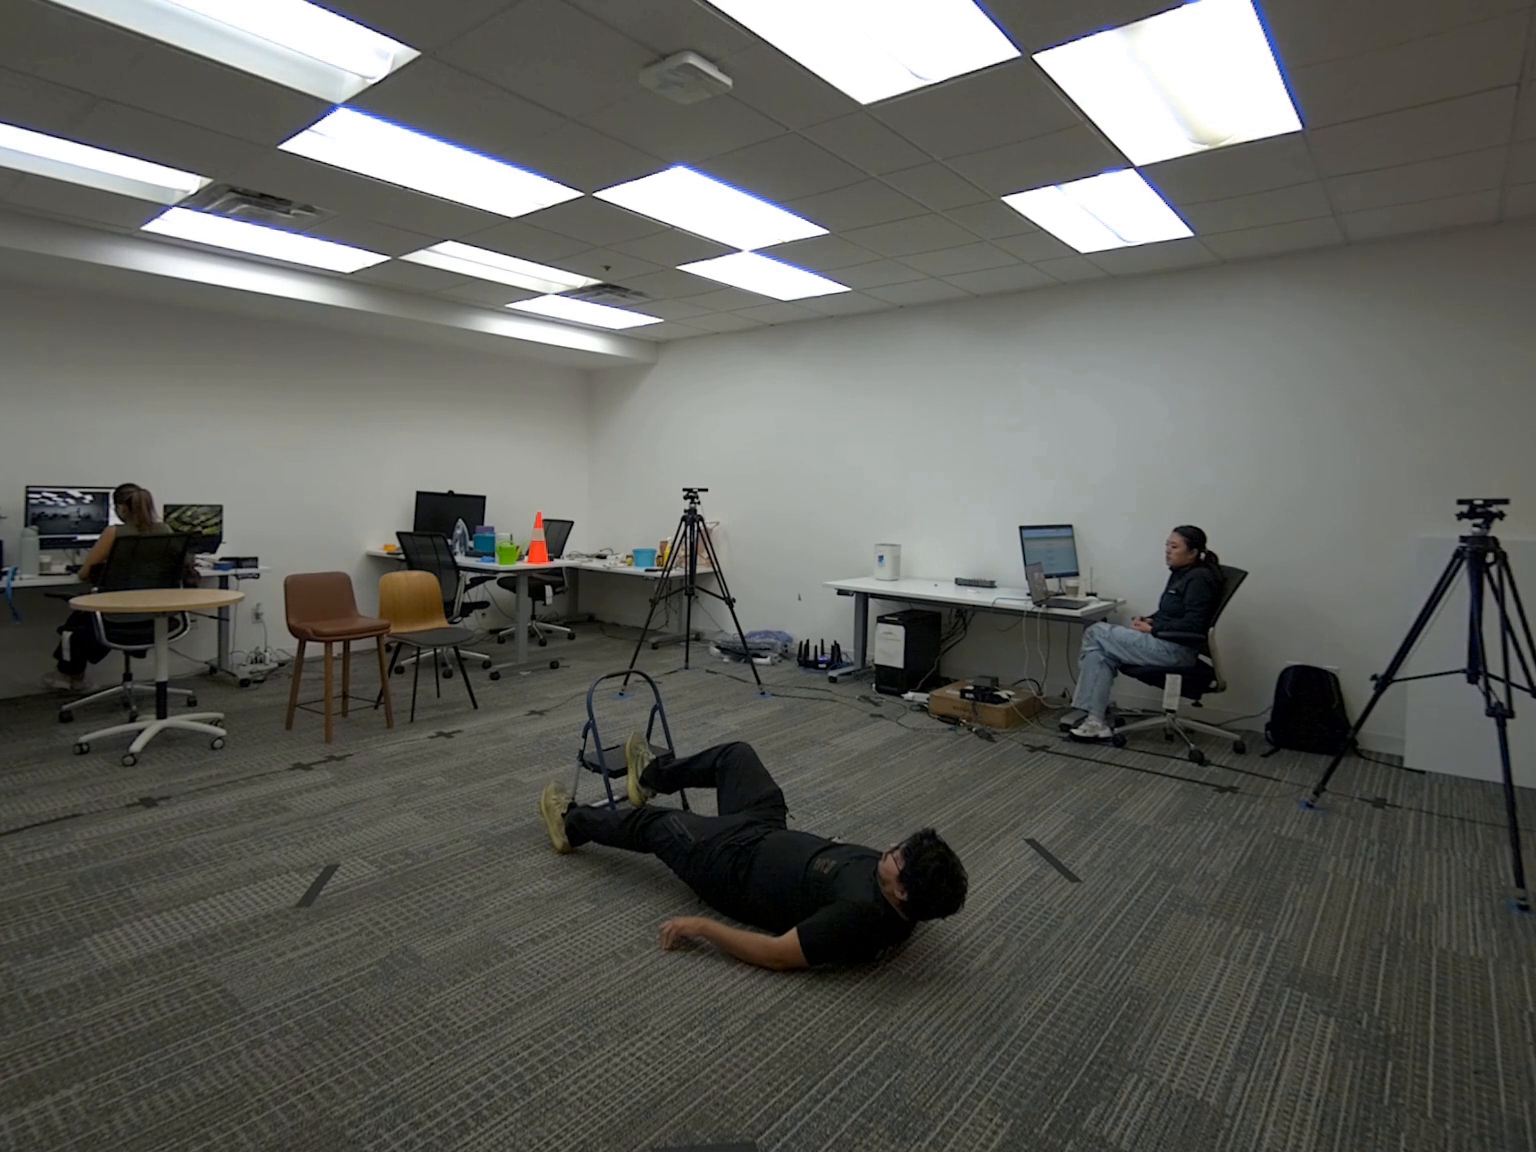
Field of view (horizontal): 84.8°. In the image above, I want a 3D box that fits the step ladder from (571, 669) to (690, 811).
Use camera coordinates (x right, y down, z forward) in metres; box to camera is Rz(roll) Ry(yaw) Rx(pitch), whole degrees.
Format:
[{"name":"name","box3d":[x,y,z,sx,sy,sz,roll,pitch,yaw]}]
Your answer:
[{"name":"step ladder","box3d":[-0.595,0.712,3.600,0.361,0.604,0.418,3,4,38]}]
